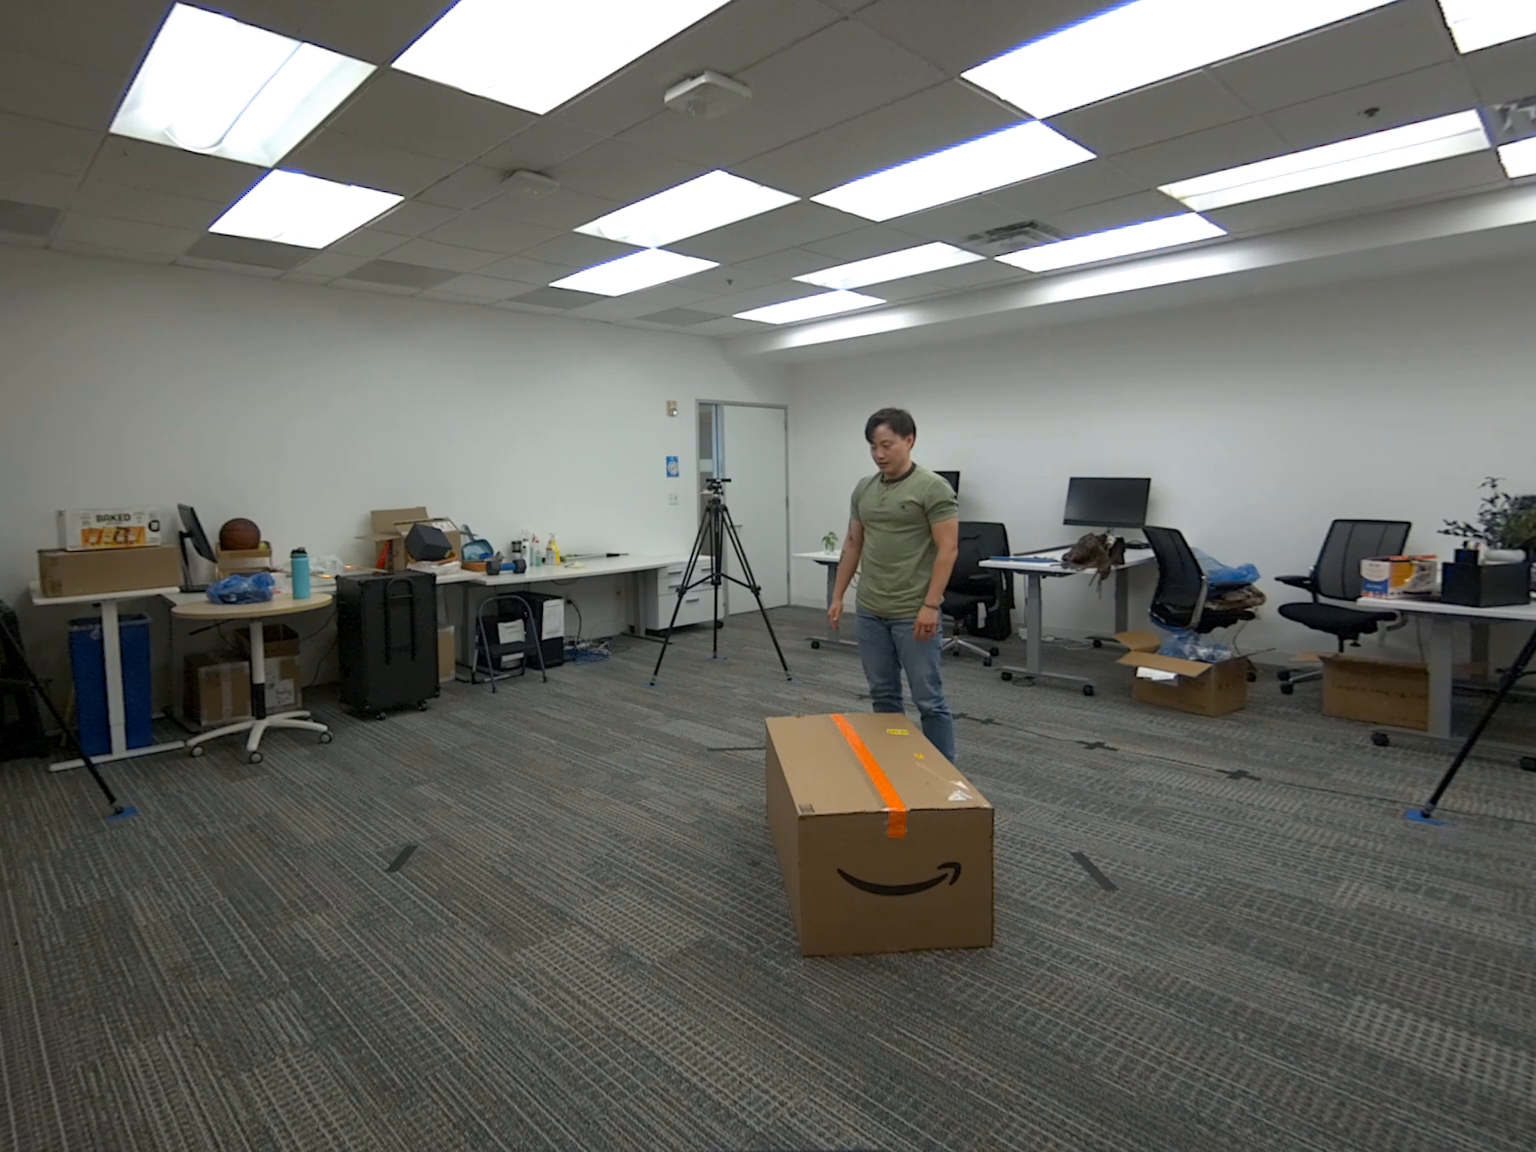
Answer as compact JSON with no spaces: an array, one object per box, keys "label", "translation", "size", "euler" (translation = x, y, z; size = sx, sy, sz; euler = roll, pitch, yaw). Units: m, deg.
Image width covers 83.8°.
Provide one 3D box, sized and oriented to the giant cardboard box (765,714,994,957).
[{"label":"giant cardboard box","translation":[0.326,0.834,2.998],"size":[0.575,0.424,1.034],"euler":[-1,6,-5]}]
